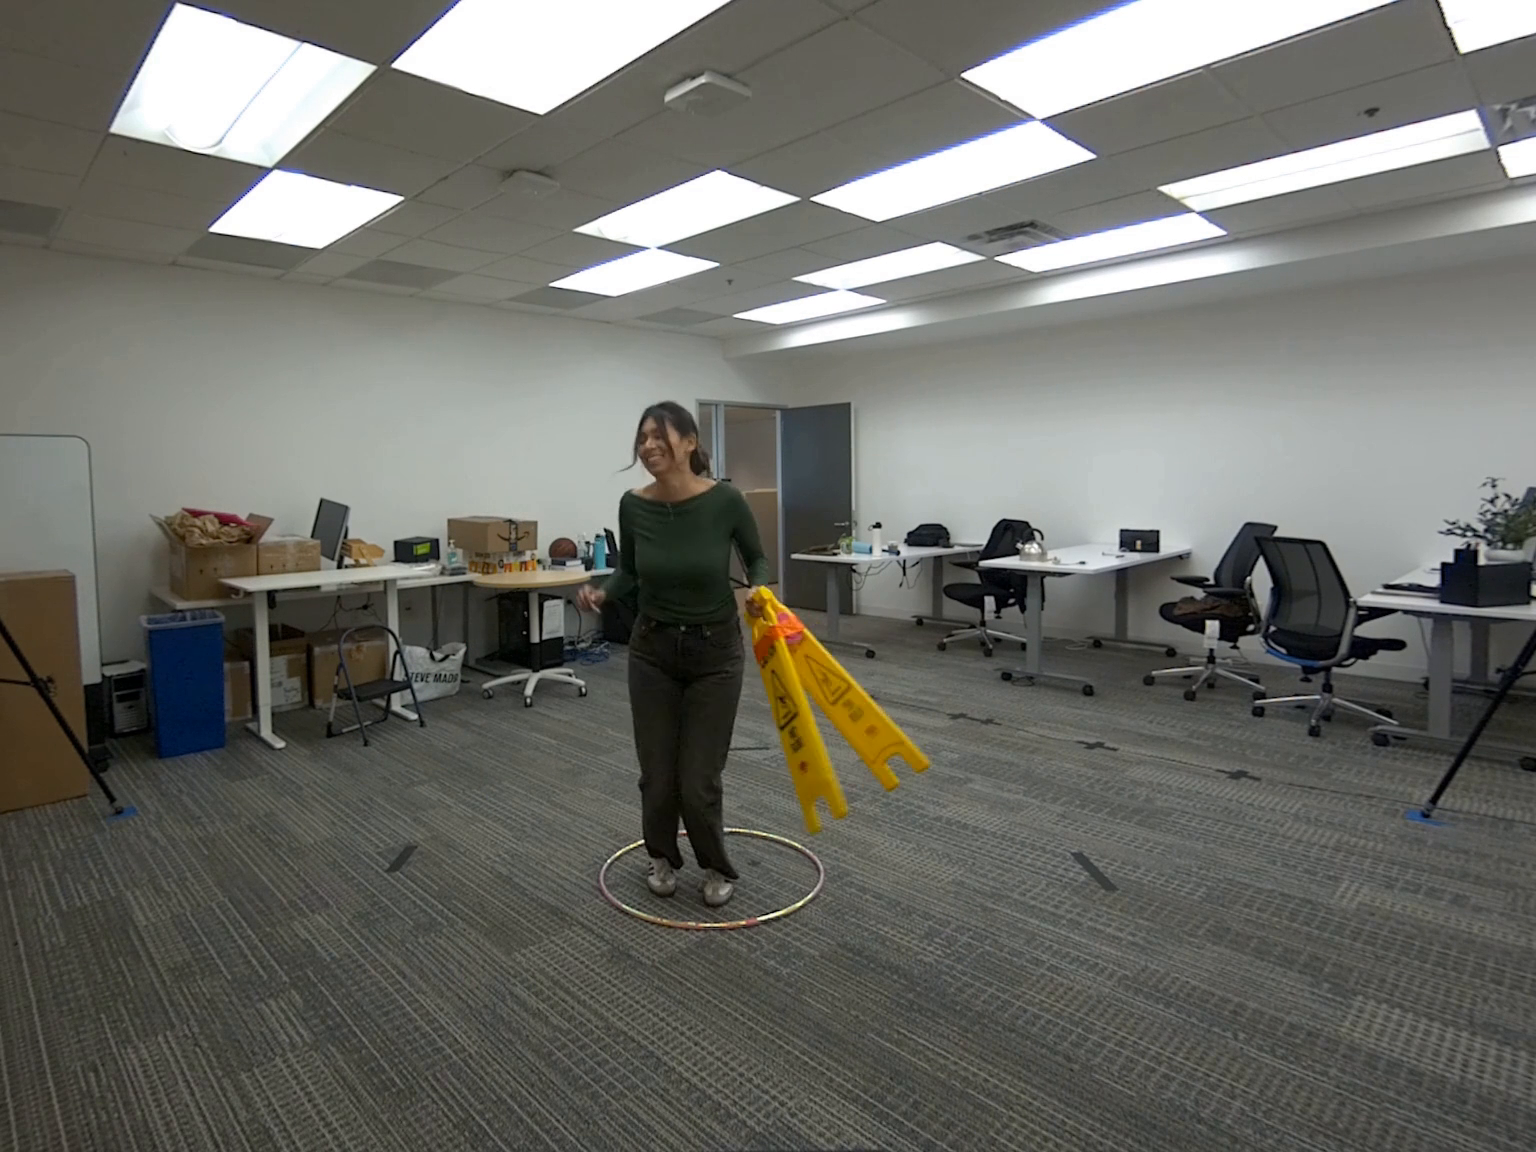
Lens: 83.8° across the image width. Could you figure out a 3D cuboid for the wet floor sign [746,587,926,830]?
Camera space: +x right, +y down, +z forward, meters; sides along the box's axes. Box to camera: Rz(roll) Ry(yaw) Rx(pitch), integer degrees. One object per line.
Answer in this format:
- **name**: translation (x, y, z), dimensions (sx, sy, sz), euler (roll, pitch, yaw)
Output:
- **wet floor sign**: translation (0.077, 0.301, 2.424), dimensions (0.286, 0.662, 0.279), euler (-22, -22, -24)
